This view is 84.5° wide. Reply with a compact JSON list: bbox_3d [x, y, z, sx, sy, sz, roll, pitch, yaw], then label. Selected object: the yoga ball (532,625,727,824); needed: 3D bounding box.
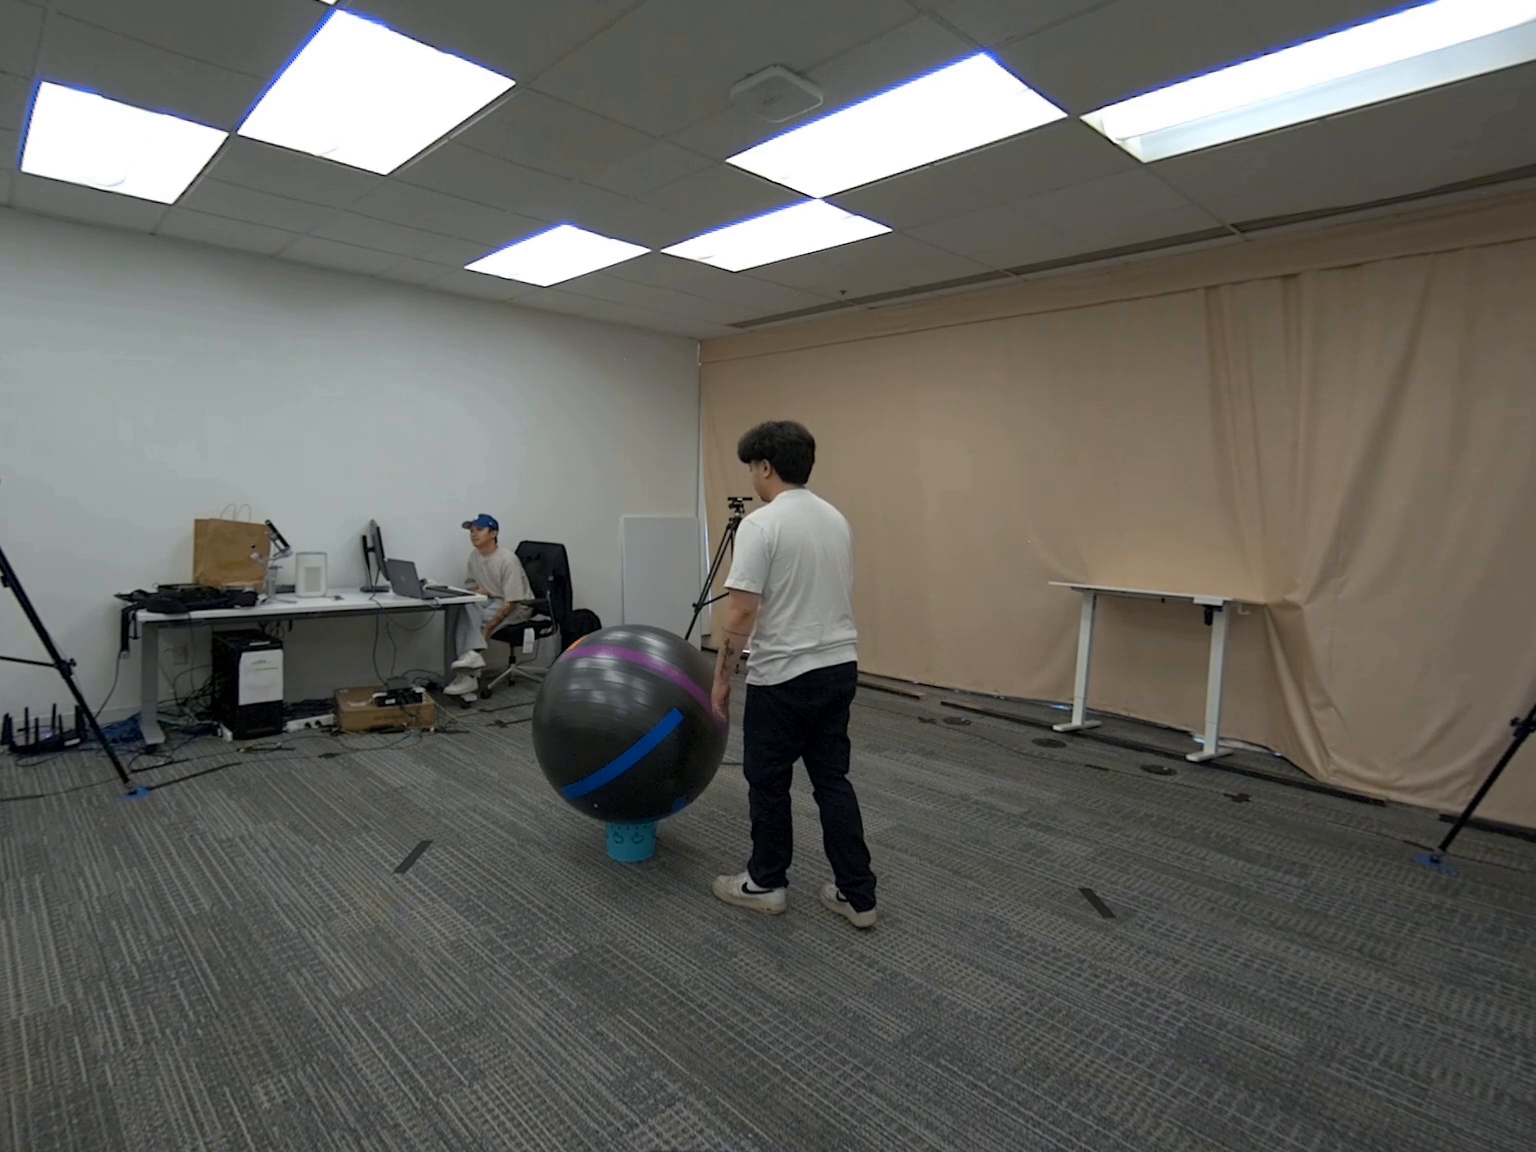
[{"bbox_3d":[-0.529,0.571,3.275,0.757,0.756,0.760,1,4,-1],"label":"yoga ball"}]
